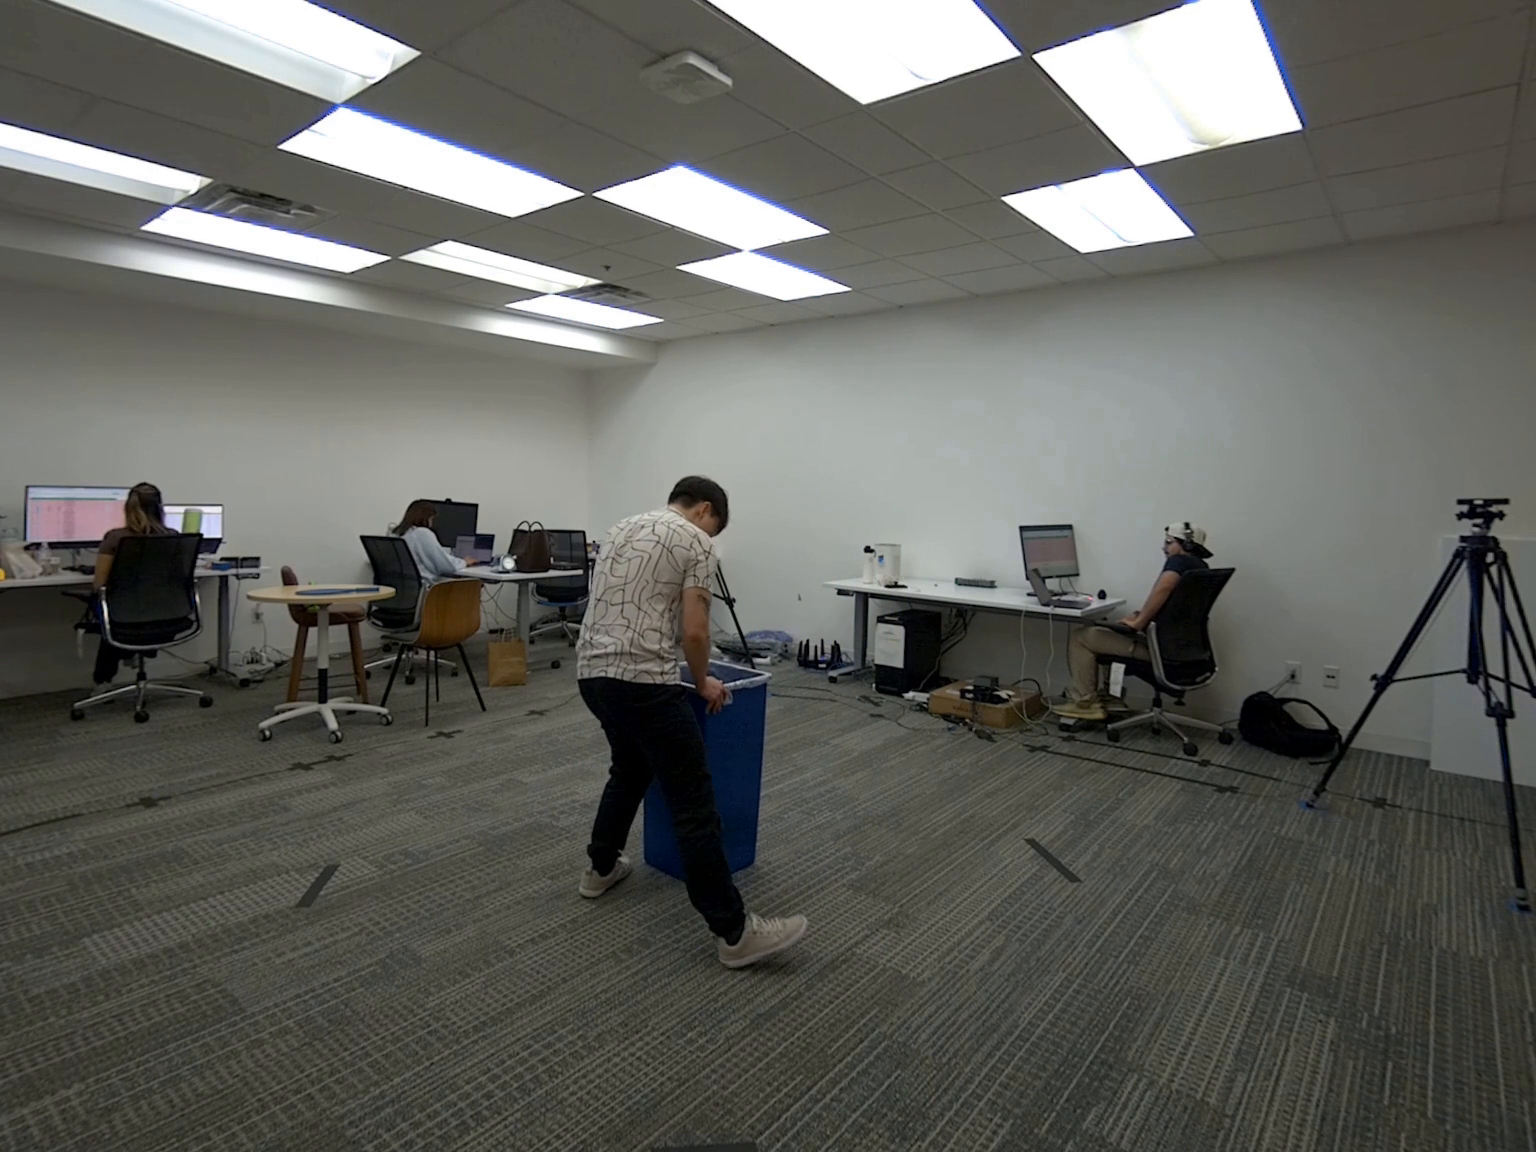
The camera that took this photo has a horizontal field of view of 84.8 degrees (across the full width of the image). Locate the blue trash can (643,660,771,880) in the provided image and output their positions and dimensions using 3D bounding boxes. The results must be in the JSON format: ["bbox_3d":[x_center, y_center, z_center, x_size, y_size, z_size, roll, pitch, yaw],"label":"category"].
[{"bbox_3d":[-0.245,0.706,3.149,0.391,0.711,0.362,5,5,41],"label":"blue trash can"}]
